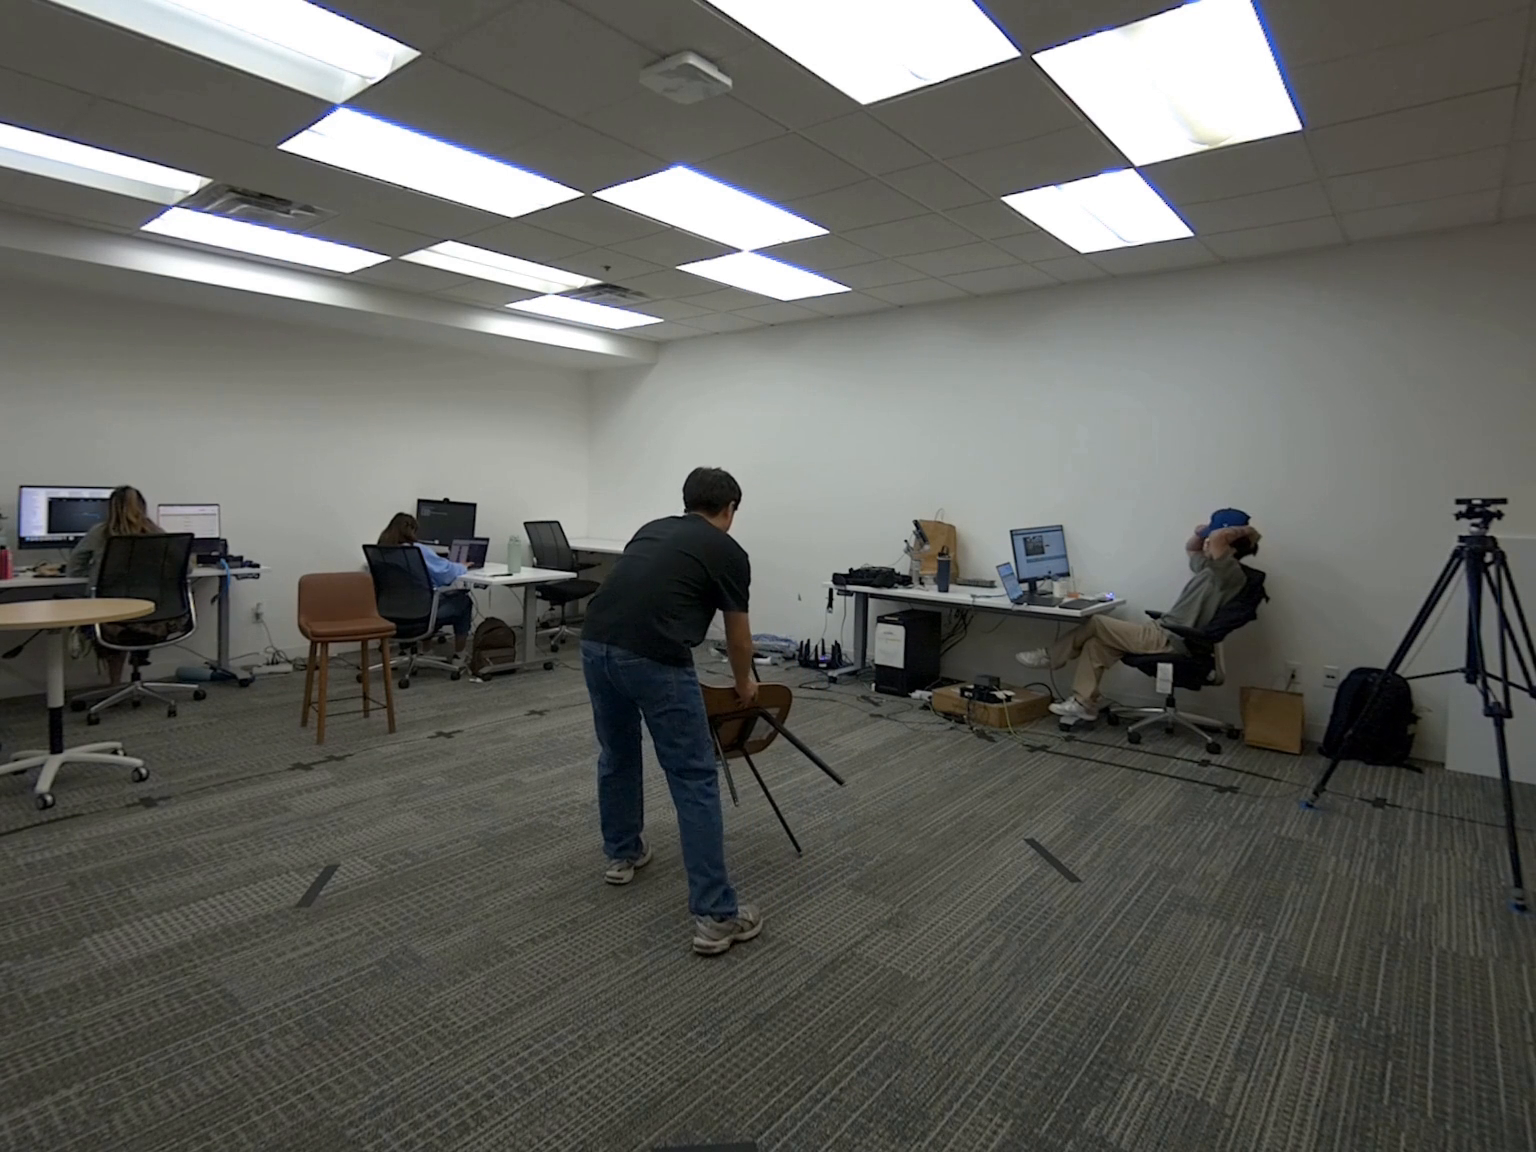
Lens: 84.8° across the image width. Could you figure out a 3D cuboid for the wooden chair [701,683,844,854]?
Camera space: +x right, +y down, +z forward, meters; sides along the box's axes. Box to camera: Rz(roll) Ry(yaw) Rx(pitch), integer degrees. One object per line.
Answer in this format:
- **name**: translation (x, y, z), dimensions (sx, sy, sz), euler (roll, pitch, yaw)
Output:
- **wooden chair**: translation (-0.154, 0.620, 3.311), dimensions (0.509, 0.471, 0.914), euler (-6, 43, -33)
